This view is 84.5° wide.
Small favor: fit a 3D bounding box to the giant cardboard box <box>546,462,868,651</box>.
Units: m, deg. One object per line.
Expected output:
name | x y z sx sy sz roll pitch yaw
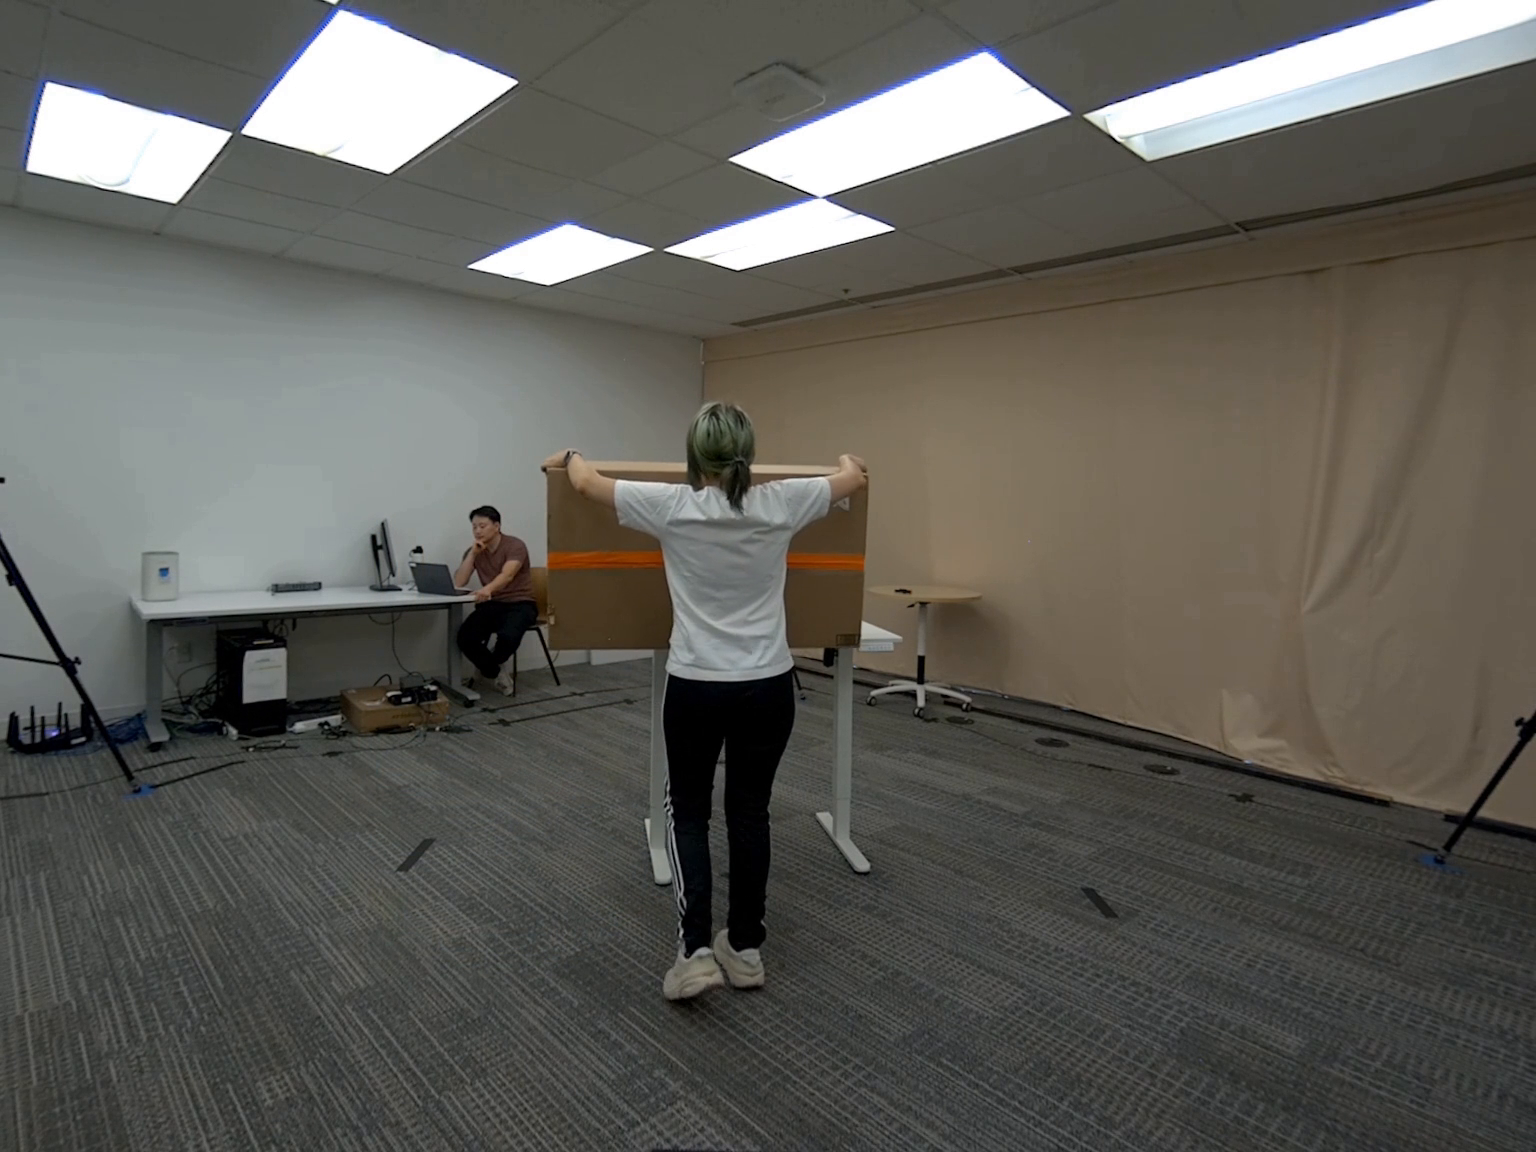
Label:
giant cardboard box | -0.231 -0.086 2.871 1.019 0.580 0.453 1 10 -9
